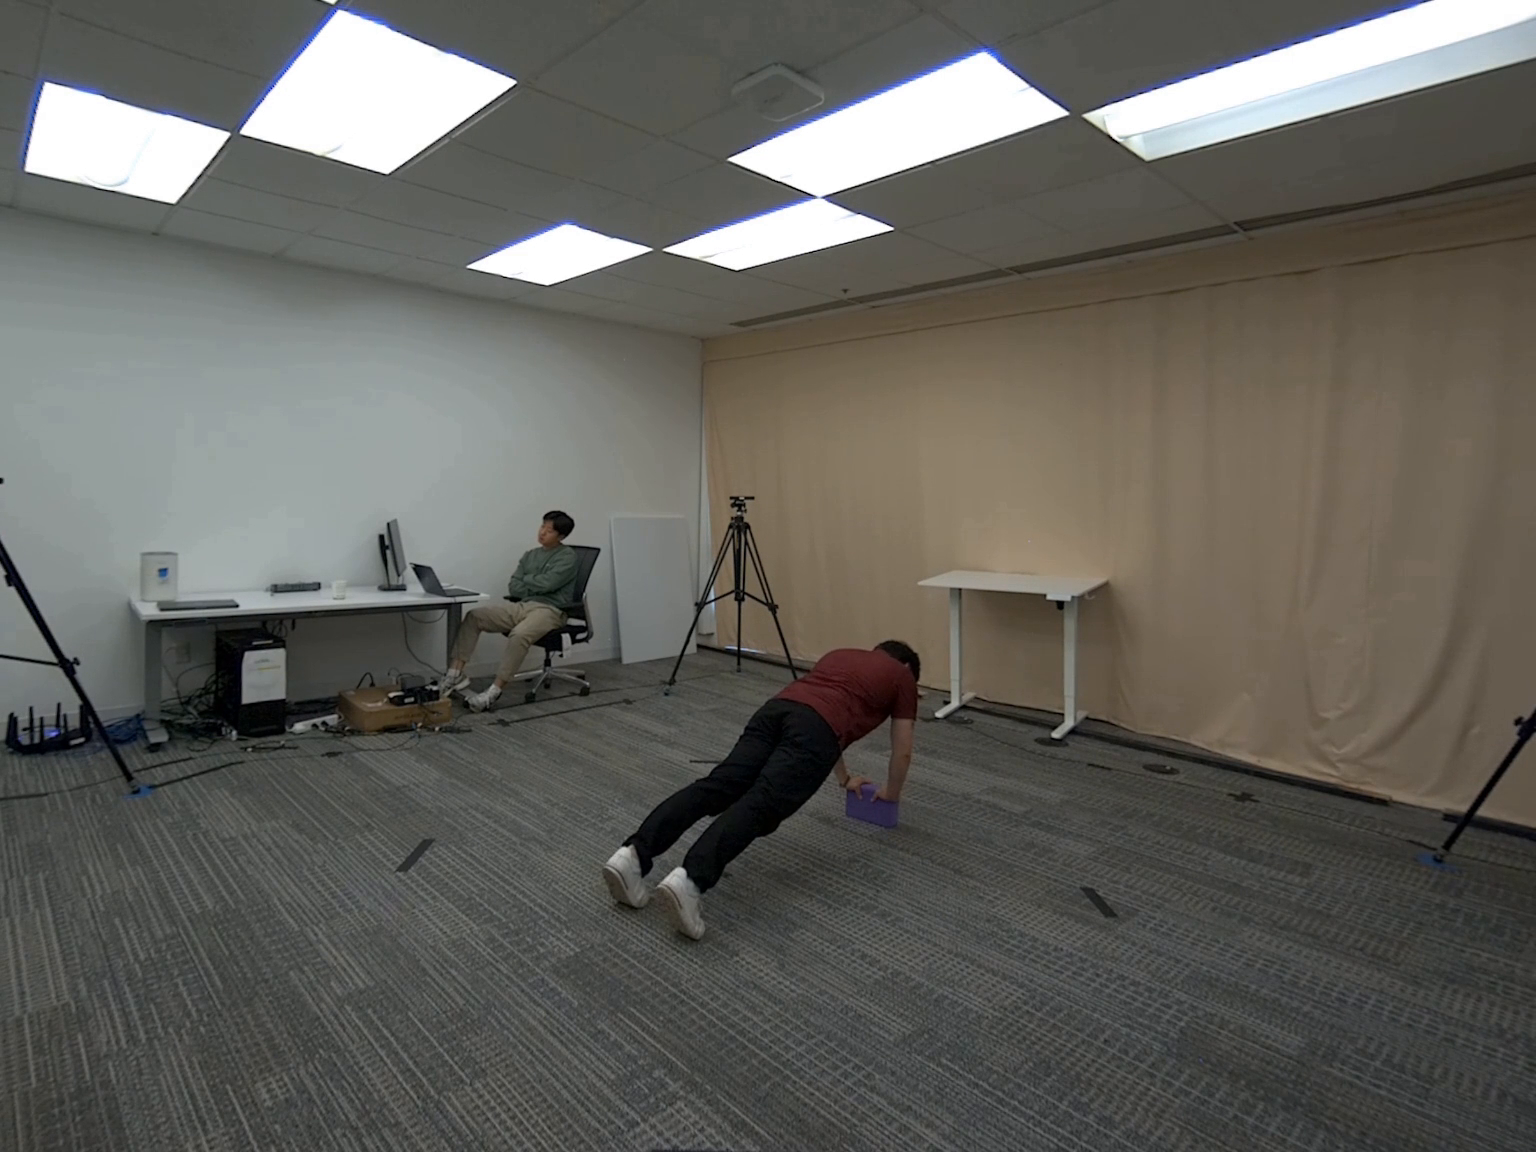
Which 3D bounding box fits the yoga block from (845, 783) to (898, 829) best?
[{"bbox_3d":[0.443,0.998,3.690,0.235,0.148,0.075,6,5,39],"label":"yoga block"}]
